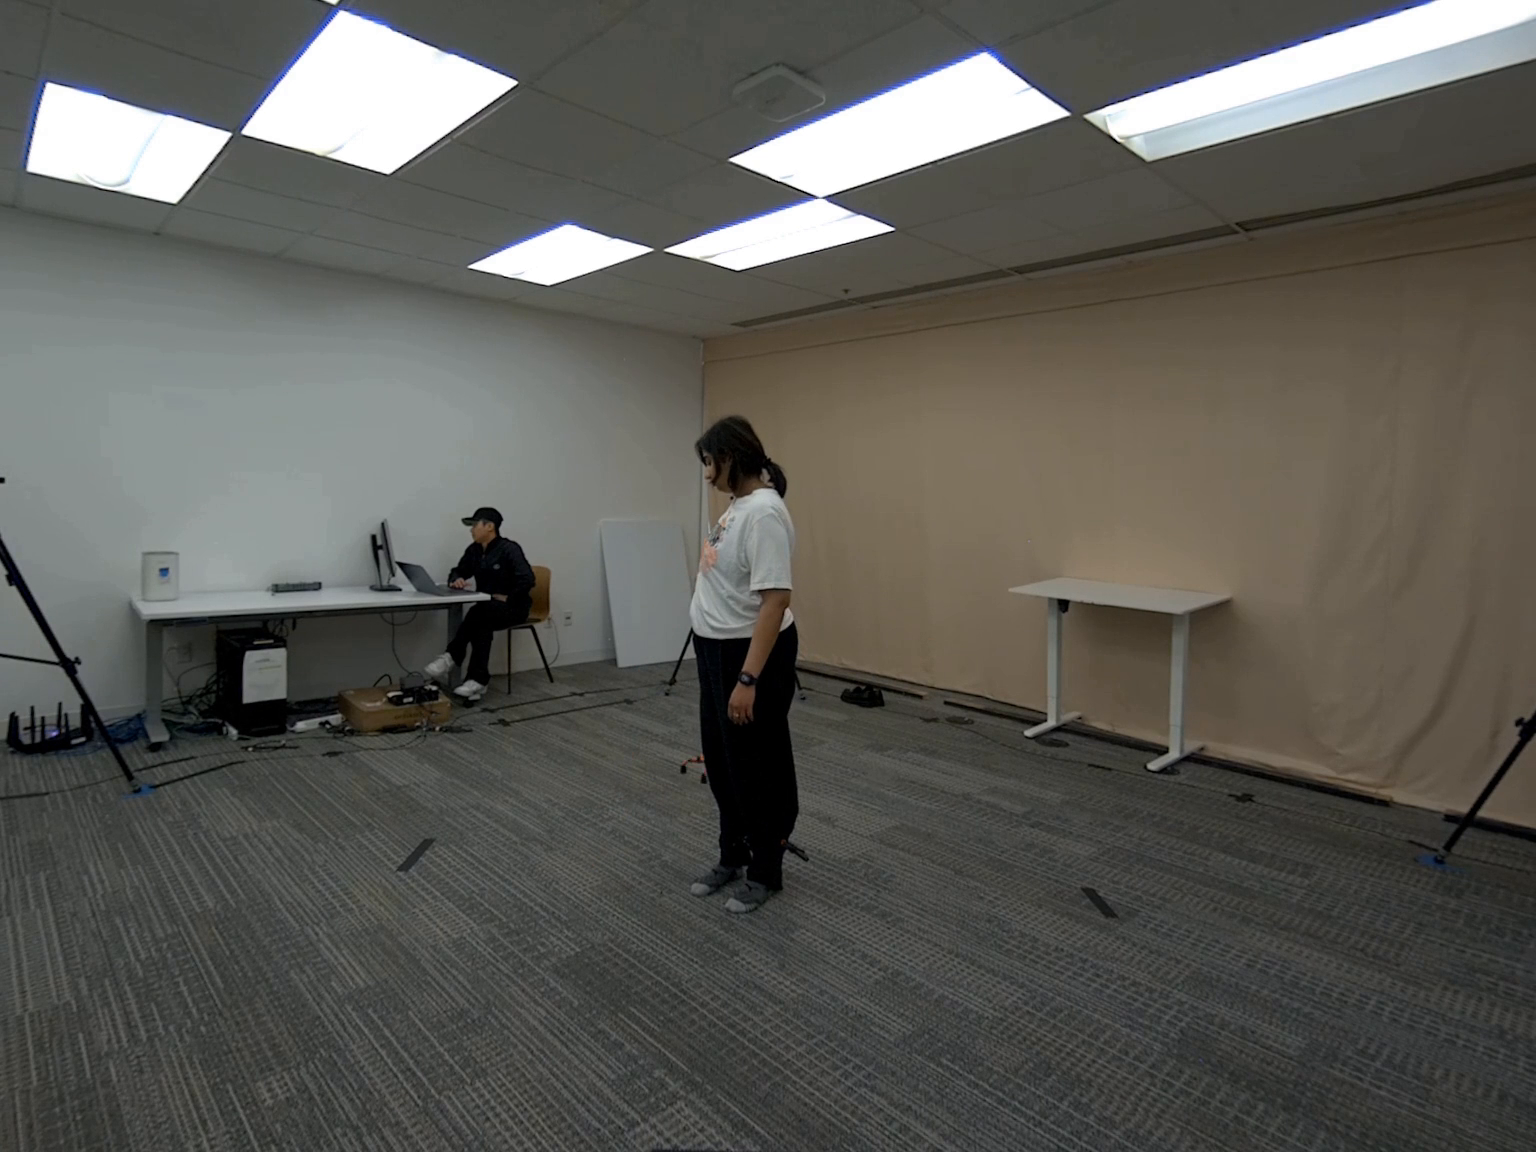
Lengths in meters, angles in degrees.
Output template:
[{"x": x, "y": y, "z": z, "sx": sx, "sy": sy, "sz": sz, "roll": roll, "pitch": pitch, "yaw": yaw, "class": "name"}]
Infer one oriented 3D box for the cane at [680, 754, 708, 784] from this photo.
[{"x": -0.258, "y": 0.388, "z": 3.427, "sx": 0.155, "sy": 0.898, "sz": 0.203, "roll": 10, "pitch": 18, "yaw": 37, "class": "cane"}]
